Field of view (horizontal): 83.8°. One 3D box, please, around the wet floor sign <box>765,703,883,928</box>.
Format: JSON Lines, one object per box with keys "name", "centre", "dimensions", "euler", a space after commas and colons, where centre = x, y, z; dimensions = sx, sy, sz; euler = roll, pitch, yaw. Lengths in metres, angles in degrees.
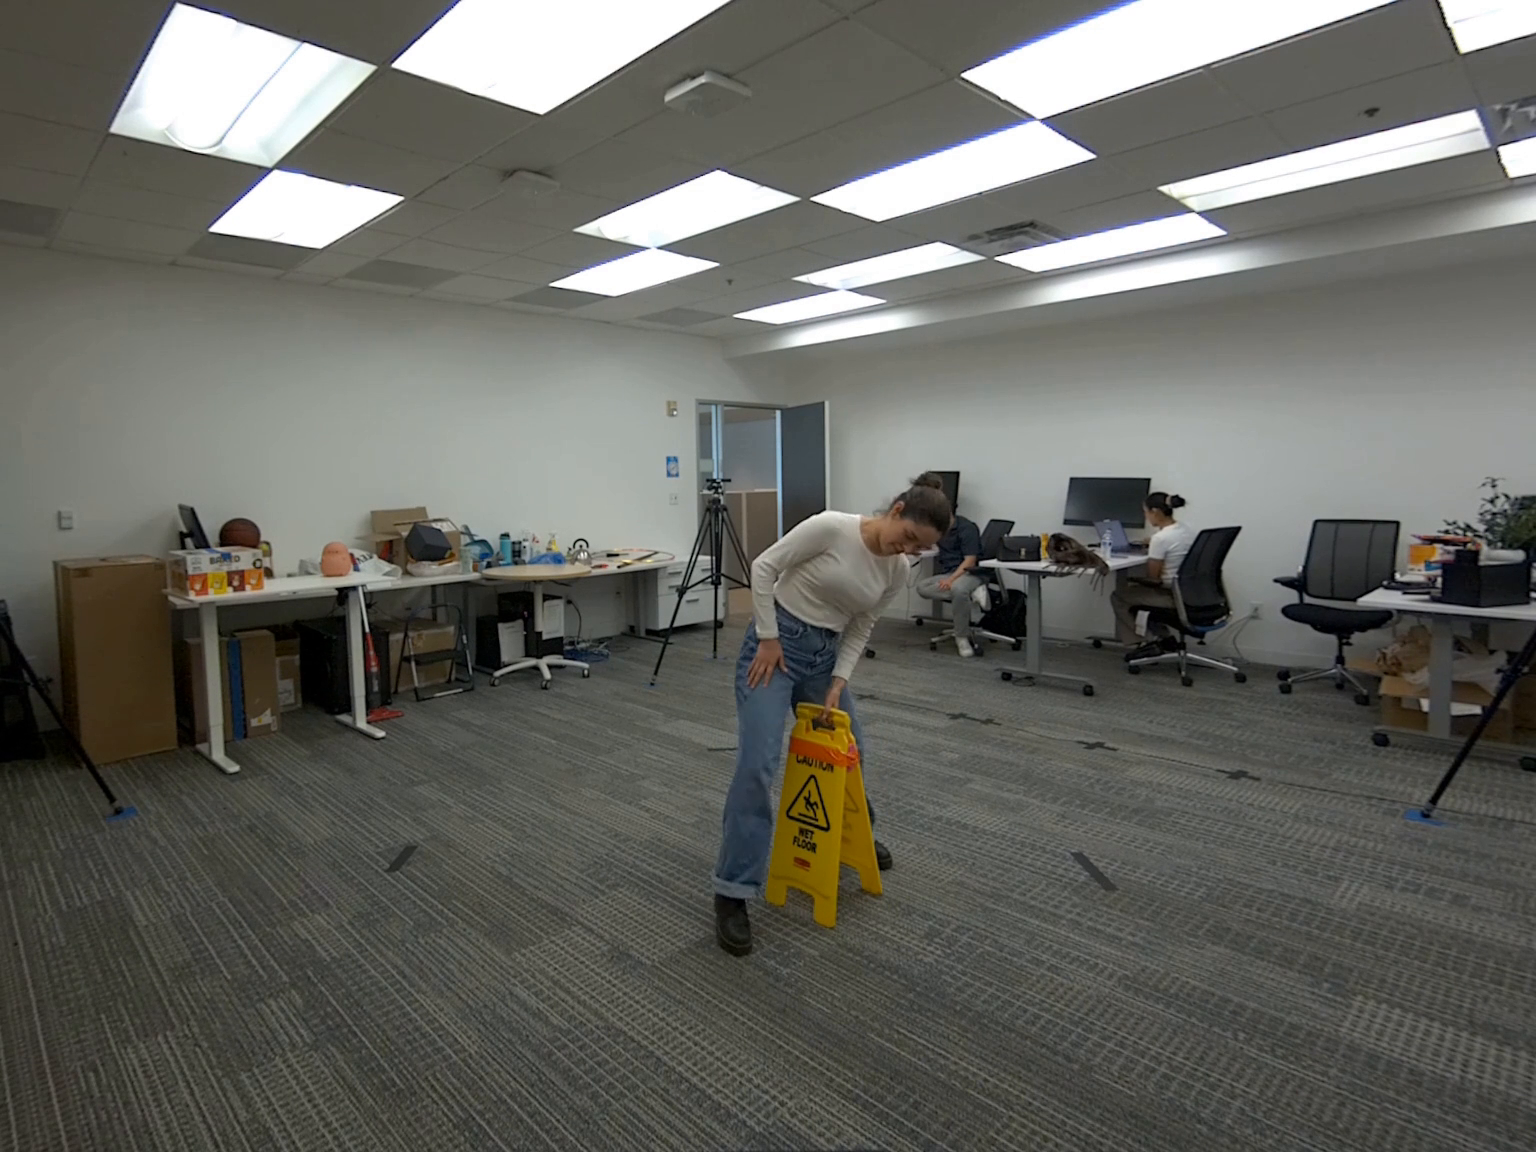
{"name": "wet floor sign", "centre": [0.181, 0.755, 2.819], "dimensions": [0.291, 0.643, 0.282], "euler": [3, 6, 41]}
